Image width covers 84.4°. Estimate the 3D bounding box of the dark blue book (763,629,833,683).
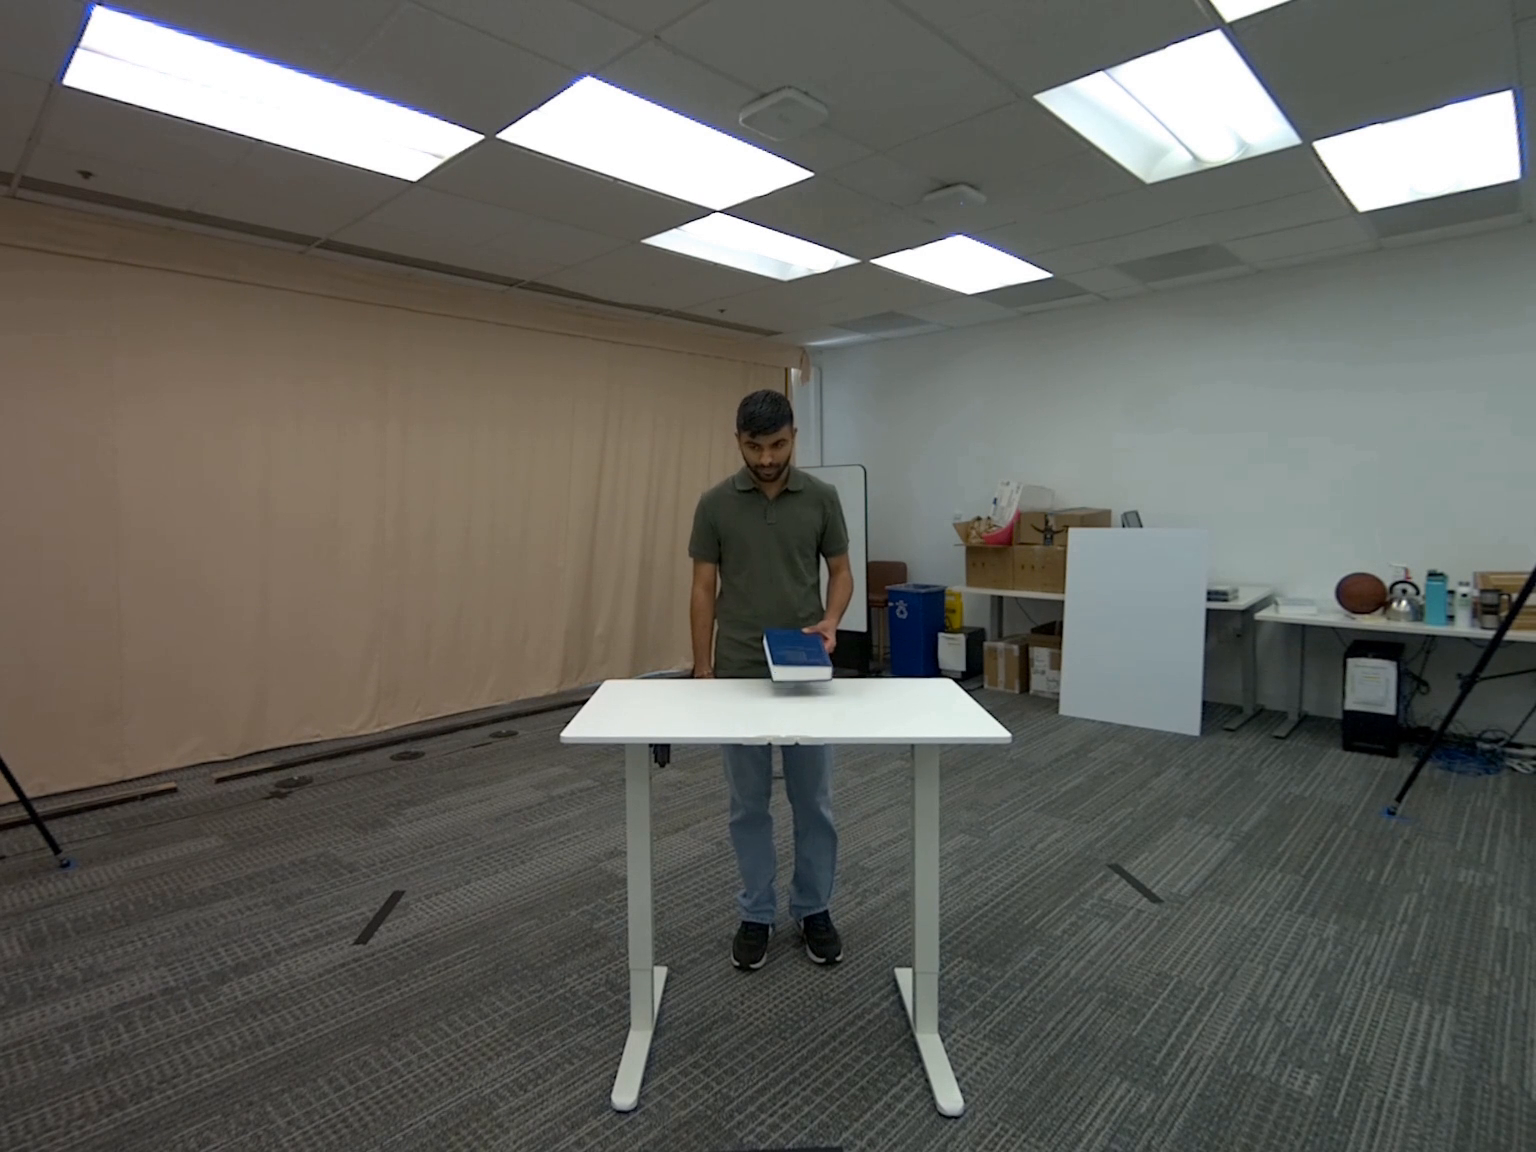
[{"bbox_3d":[0.089,0.207,2.328,0.163,0.045,0.248,2,20,-4],"label":"dark blue book"}]
